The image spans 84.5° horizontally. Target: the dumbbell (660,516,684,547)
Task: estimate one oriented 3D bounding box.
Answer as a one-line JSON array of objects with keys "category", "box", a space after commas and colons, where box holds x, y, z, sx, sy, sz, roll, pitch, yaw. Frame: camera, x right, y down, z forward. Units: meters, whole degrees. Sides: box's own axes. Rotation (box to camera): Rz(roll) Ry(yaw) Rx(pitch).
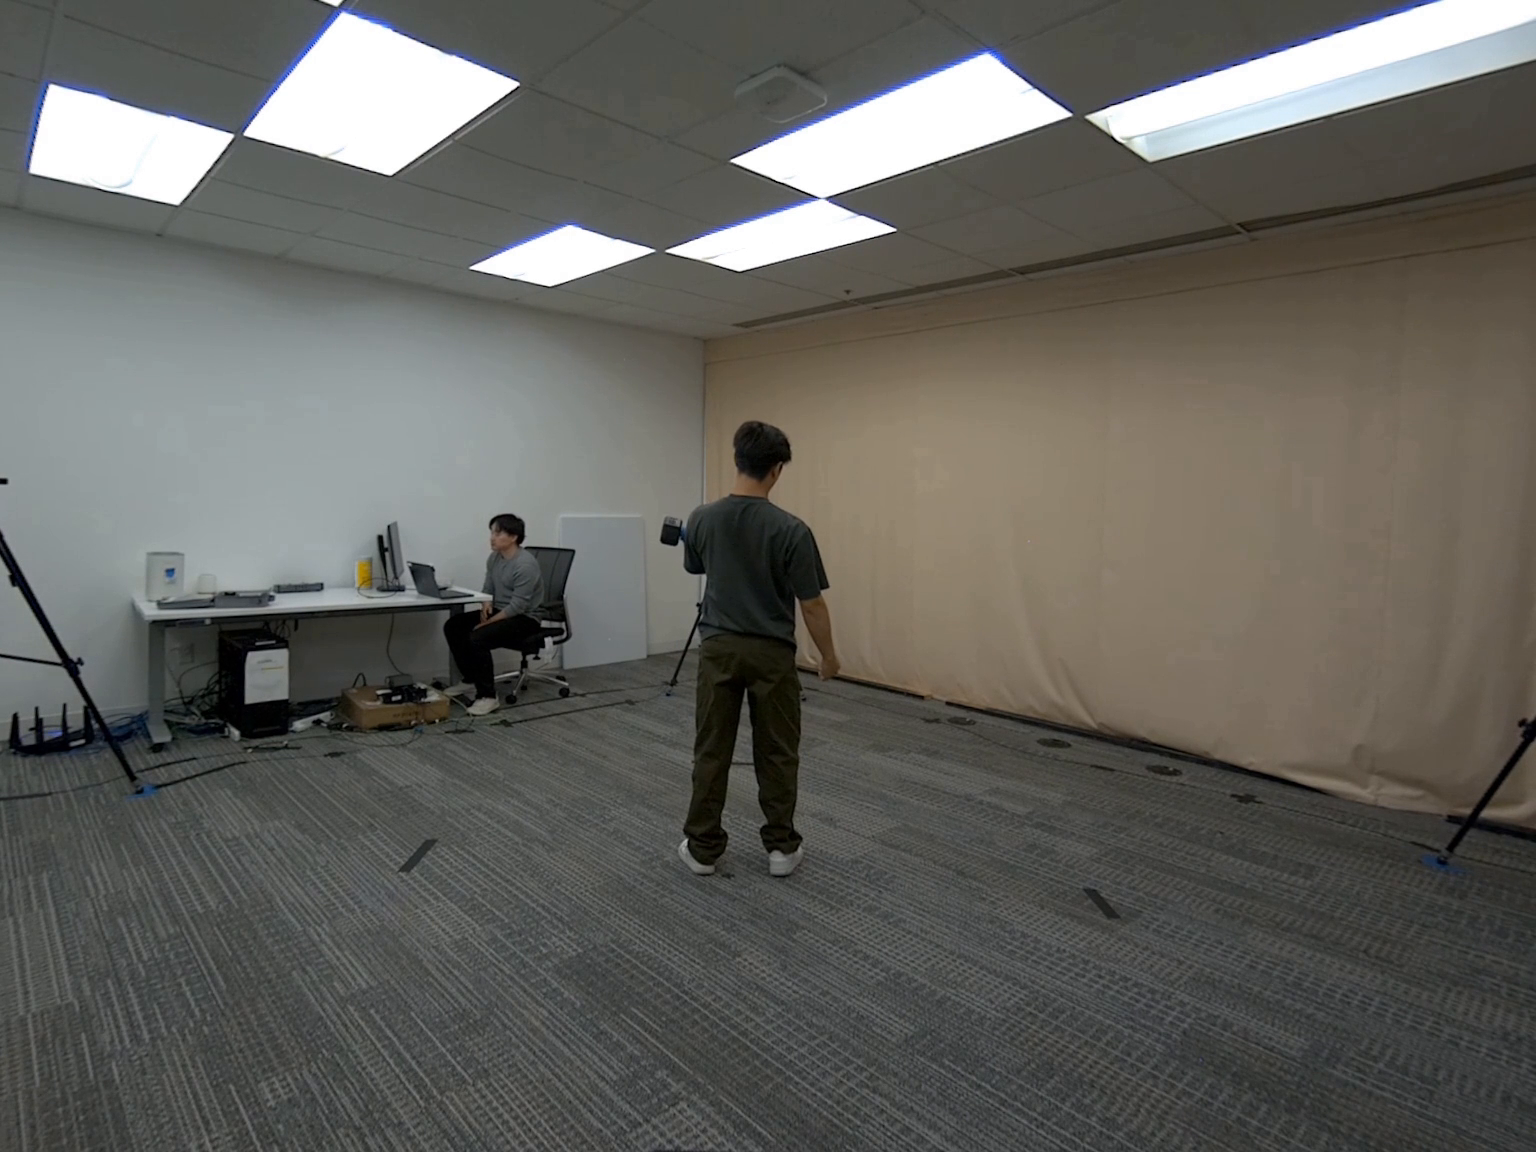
[{"category": "dumbbell", "box": [-0.320, -0.176, 3.612, 0.292, 0.122, 0.109, 10, 5, -5]}]
